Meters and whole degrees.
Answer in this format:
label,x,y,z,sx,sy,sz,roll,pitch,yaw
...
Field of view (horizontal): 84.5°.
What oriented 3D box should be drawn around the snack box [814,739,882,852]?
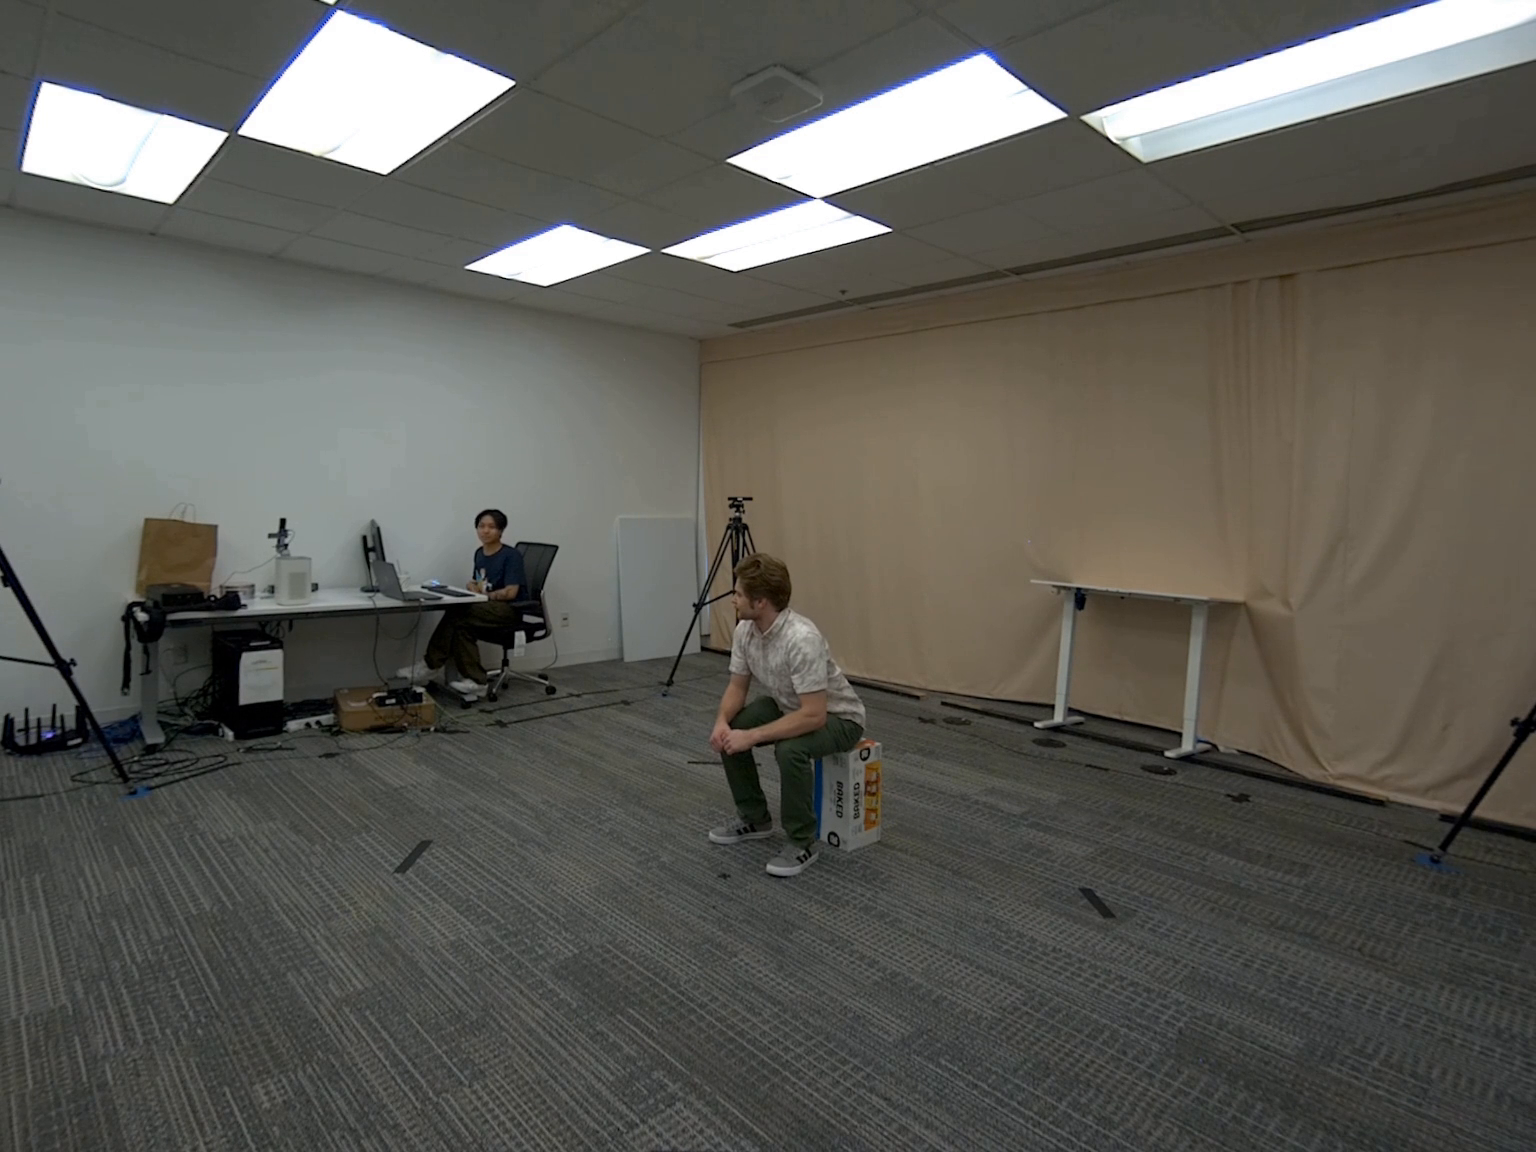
label,x,y,z,sx,sy,sz,roll,pitch,yaw
snack box,0.275,0.881,3.534,0.201,0.404,0.349,-4,6,-41
